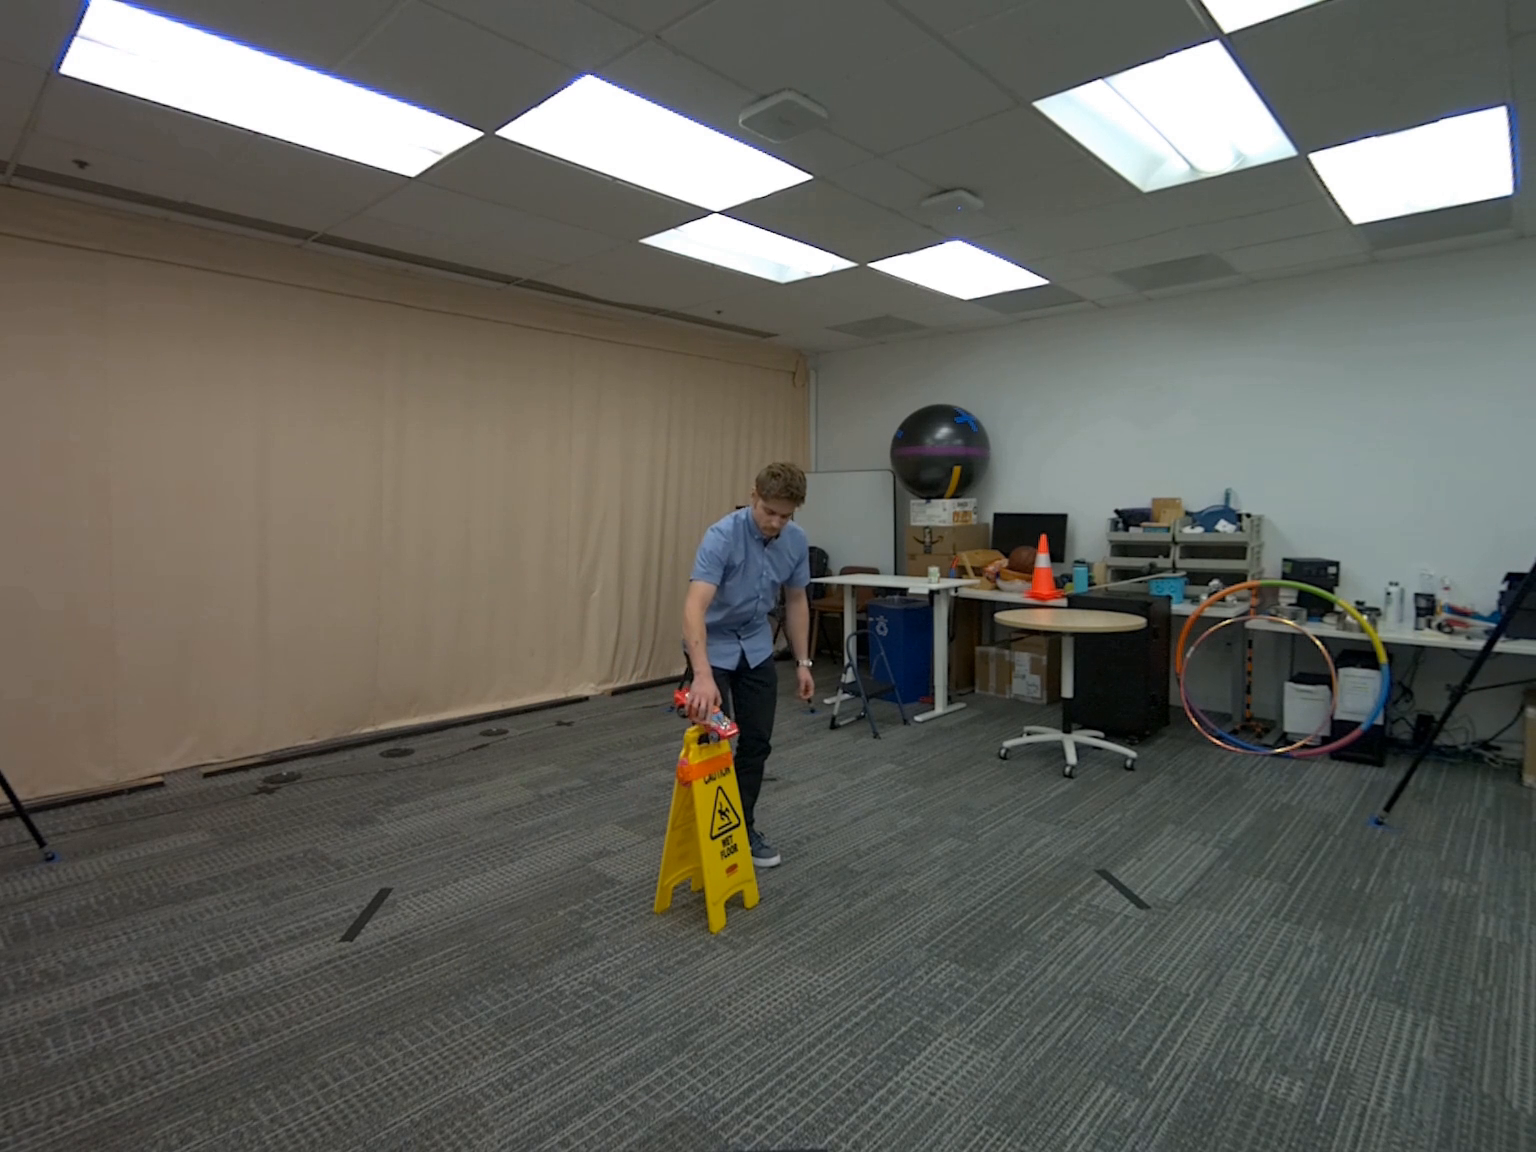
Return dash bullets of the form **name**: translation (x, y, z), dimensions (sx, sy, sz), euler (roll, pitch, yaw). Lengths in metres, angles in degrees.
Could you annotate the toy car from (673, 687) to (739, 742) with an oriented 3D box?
- **toy car**: translation (-0.219, 0.472, 2.887), dimensions (0.261, 0.083, 0.126), euler (44, 27, 24)
